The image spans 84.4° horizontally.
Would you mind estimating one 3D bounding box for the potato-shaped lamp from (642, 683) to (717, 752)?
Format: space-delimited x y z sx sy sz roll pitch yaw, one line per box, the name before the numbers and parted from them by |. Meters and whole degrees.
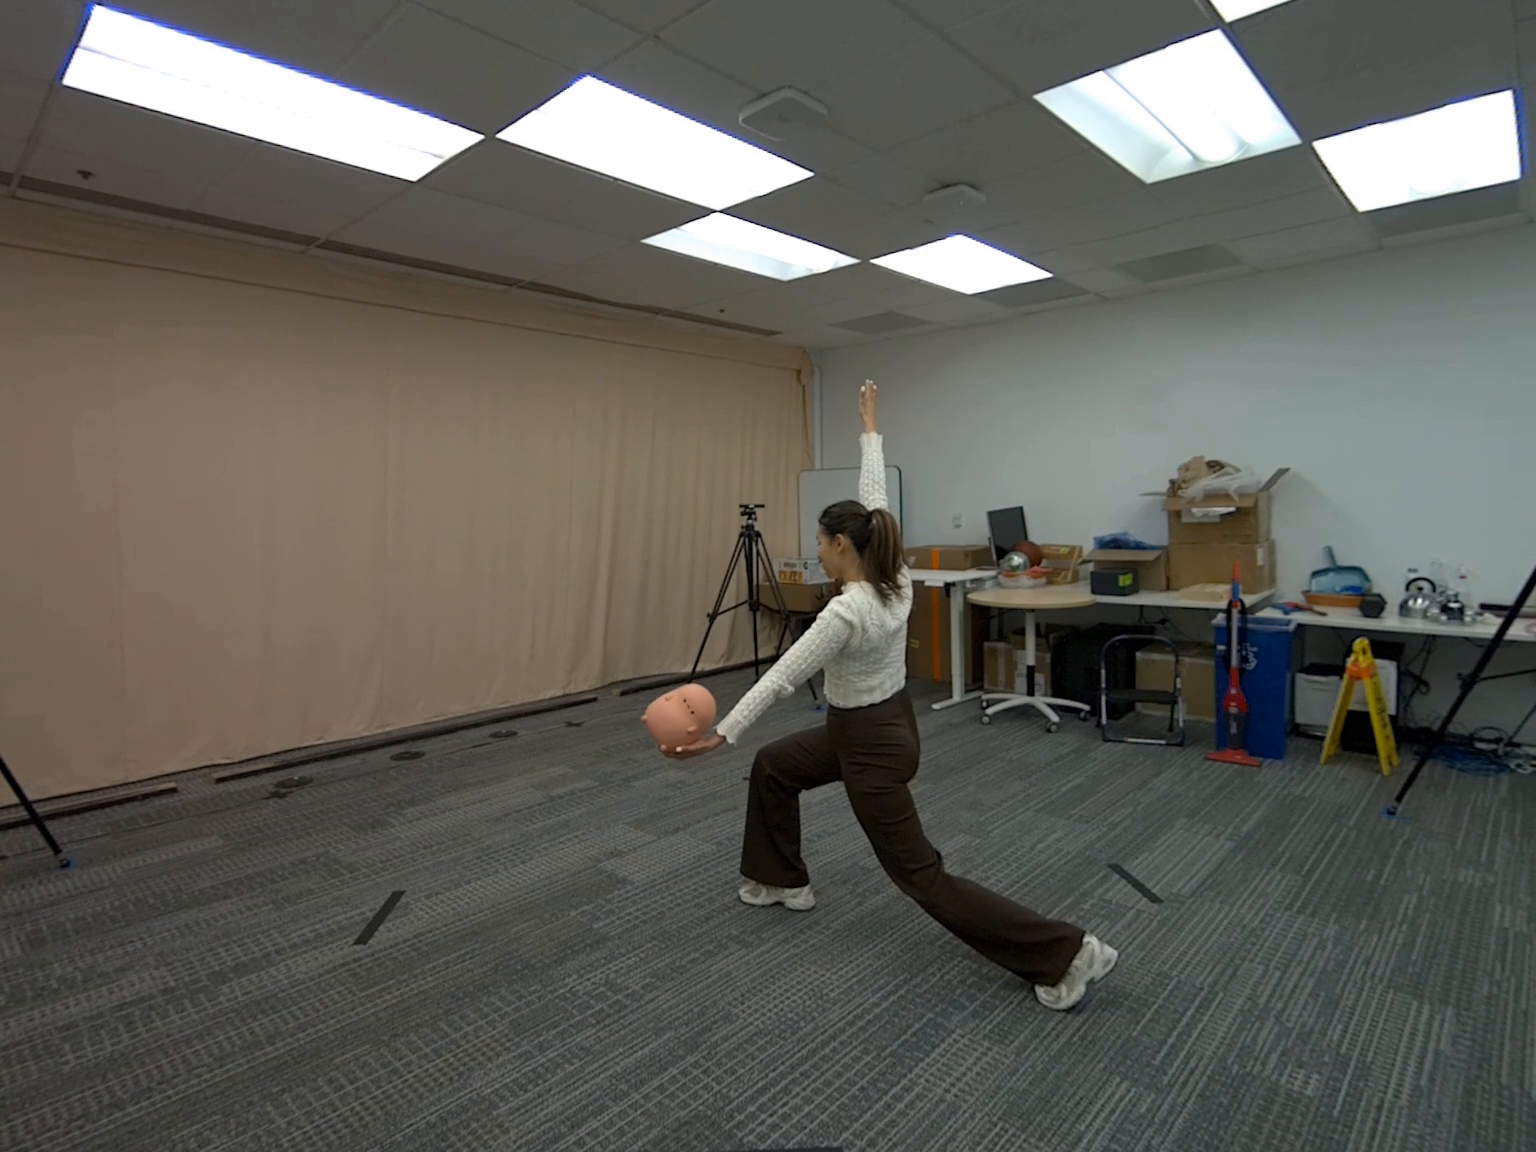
potato-shaped lamp | -0.240 0.404 2.426 0.199 0.168 0.167 -38 -17 6
